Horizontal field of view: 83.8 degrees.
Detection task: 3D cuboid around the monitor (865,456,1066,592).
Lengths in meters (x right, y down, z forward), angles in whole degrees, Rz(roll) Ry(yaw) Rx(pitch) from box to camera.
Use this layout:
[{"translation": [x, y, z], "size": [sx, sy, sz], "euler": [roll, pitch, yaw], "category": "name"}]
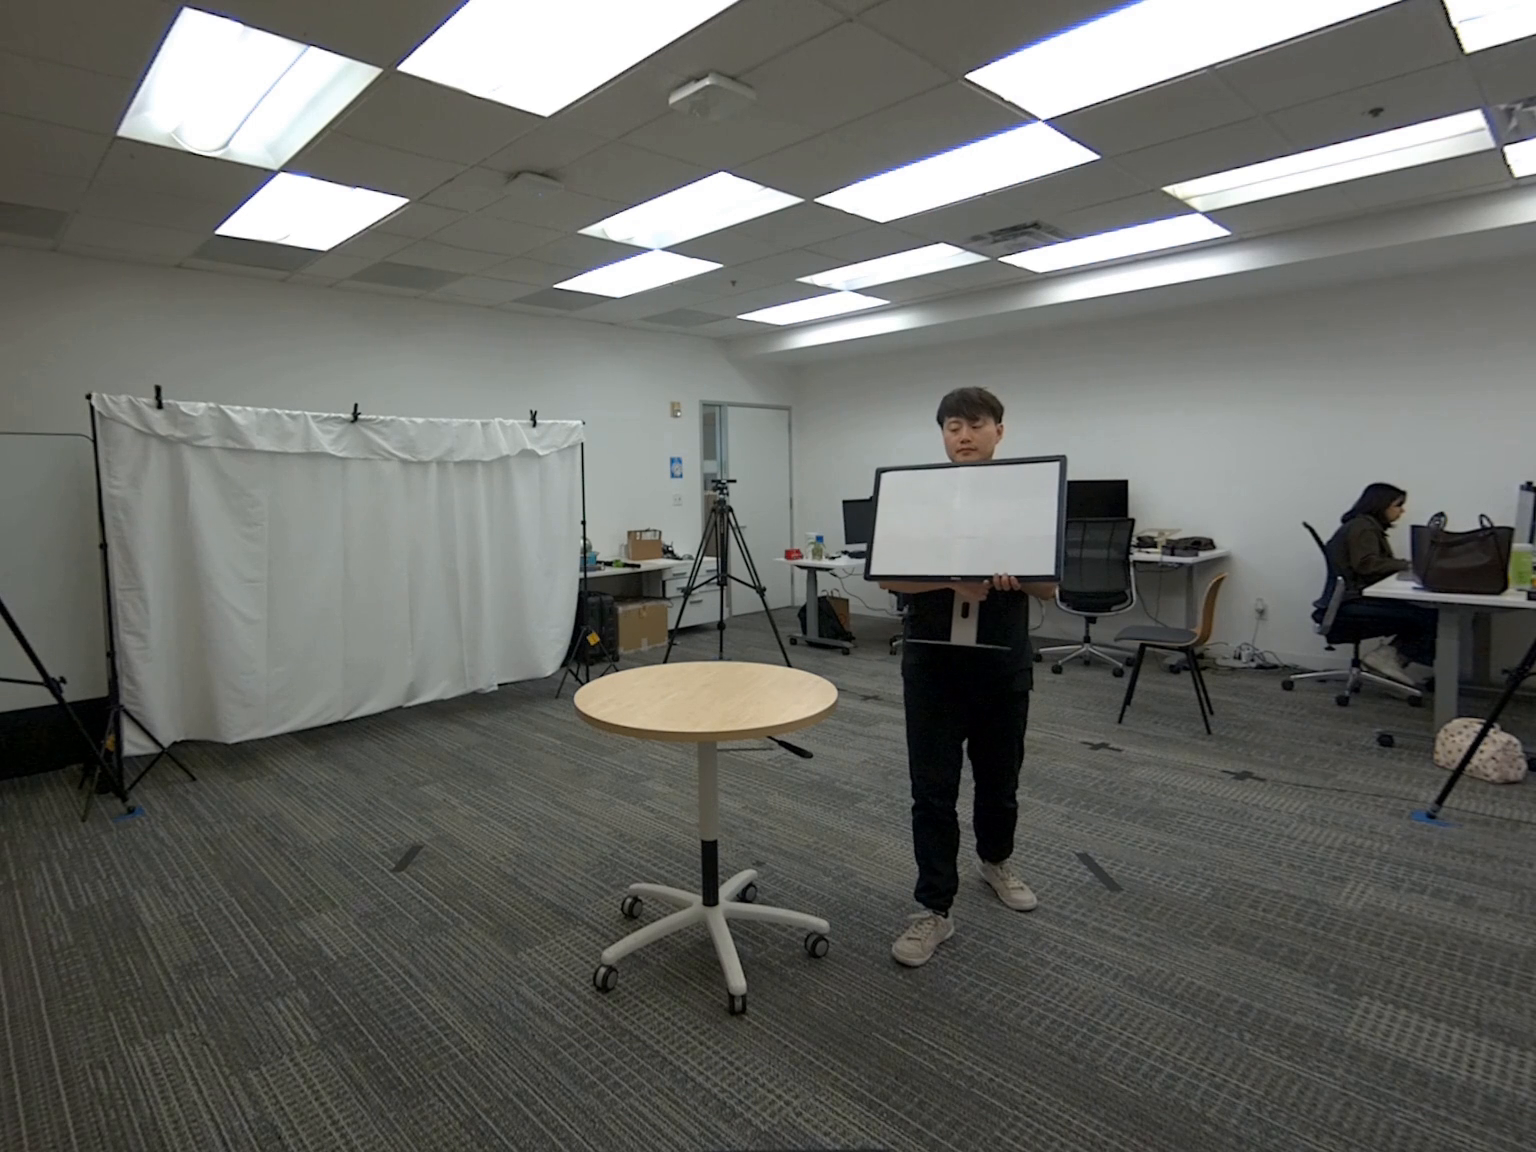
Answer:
[{"translation": [0.568, -0.067, 2.470], "size": [0.553, 0.526, 0.181], "euler": [-1, -8, 32], "category": "monitor"}]
